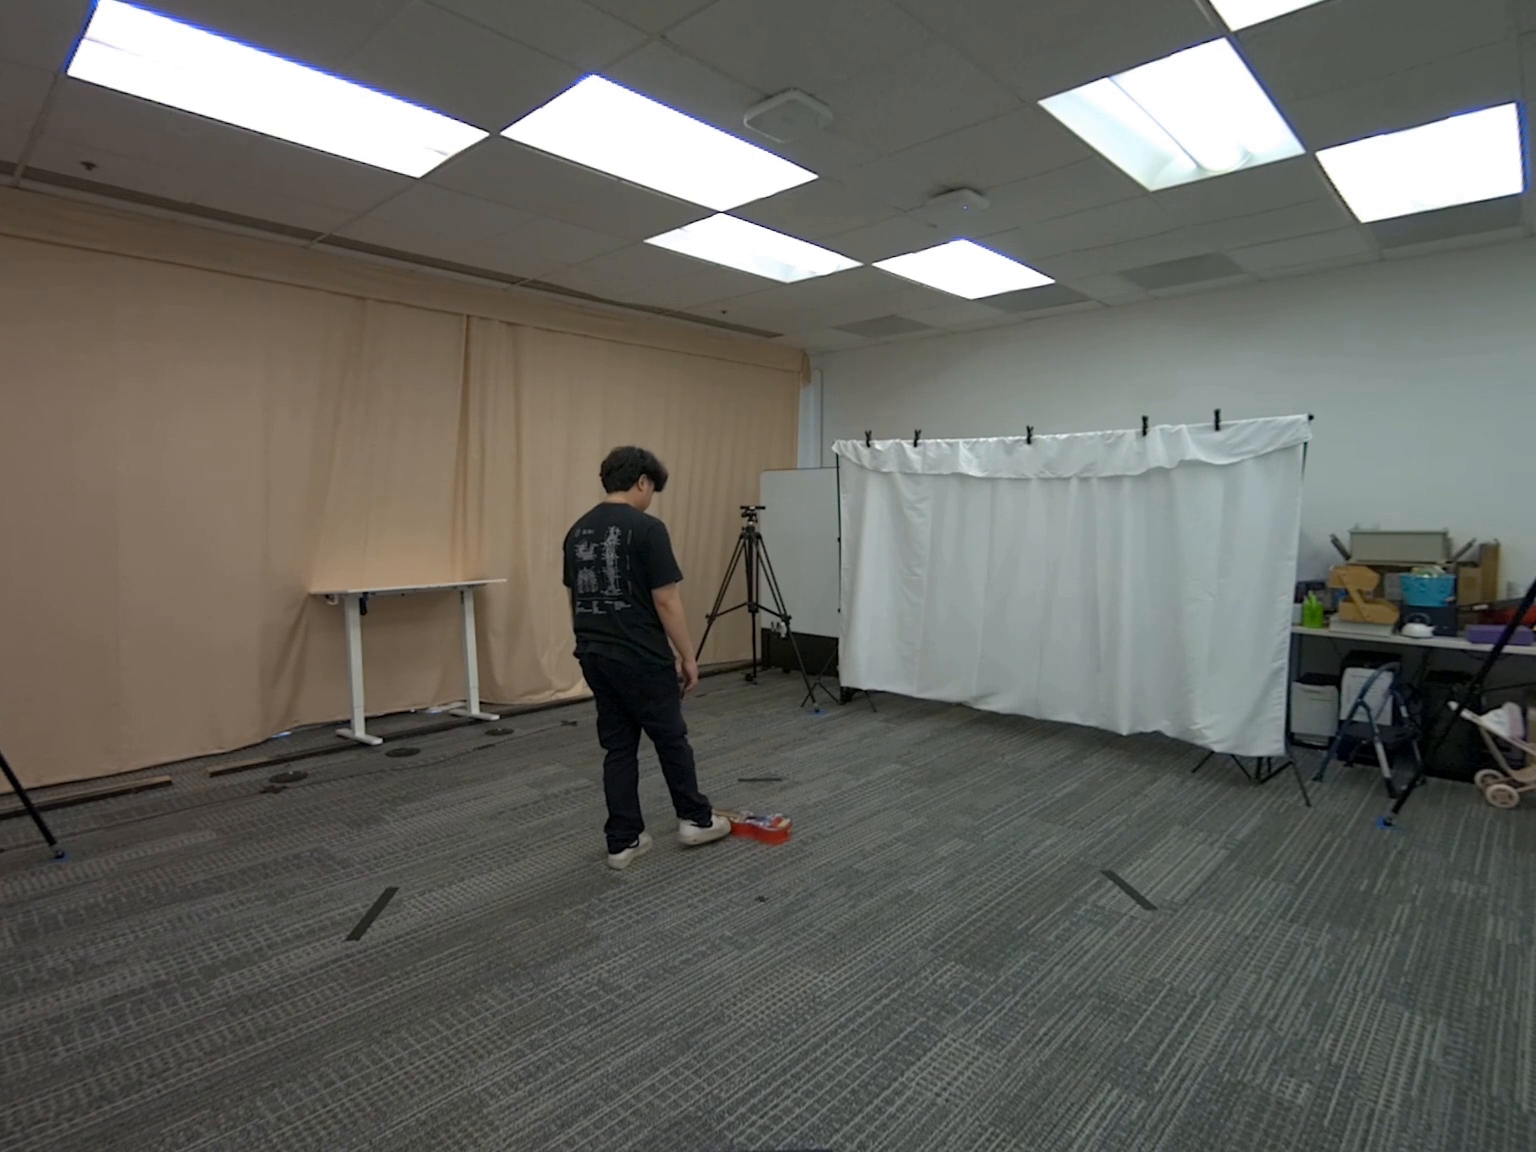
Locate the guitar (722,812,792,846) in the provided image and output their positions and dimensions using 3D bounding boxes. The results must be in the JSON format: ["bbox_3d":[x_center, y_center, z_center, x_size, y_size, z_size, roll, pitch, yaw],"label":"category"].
[{"bbox_3d":[-0.125,1.055,3.652,0.513,0.070,0.188,3,6,32],"label":"guitar"}]
